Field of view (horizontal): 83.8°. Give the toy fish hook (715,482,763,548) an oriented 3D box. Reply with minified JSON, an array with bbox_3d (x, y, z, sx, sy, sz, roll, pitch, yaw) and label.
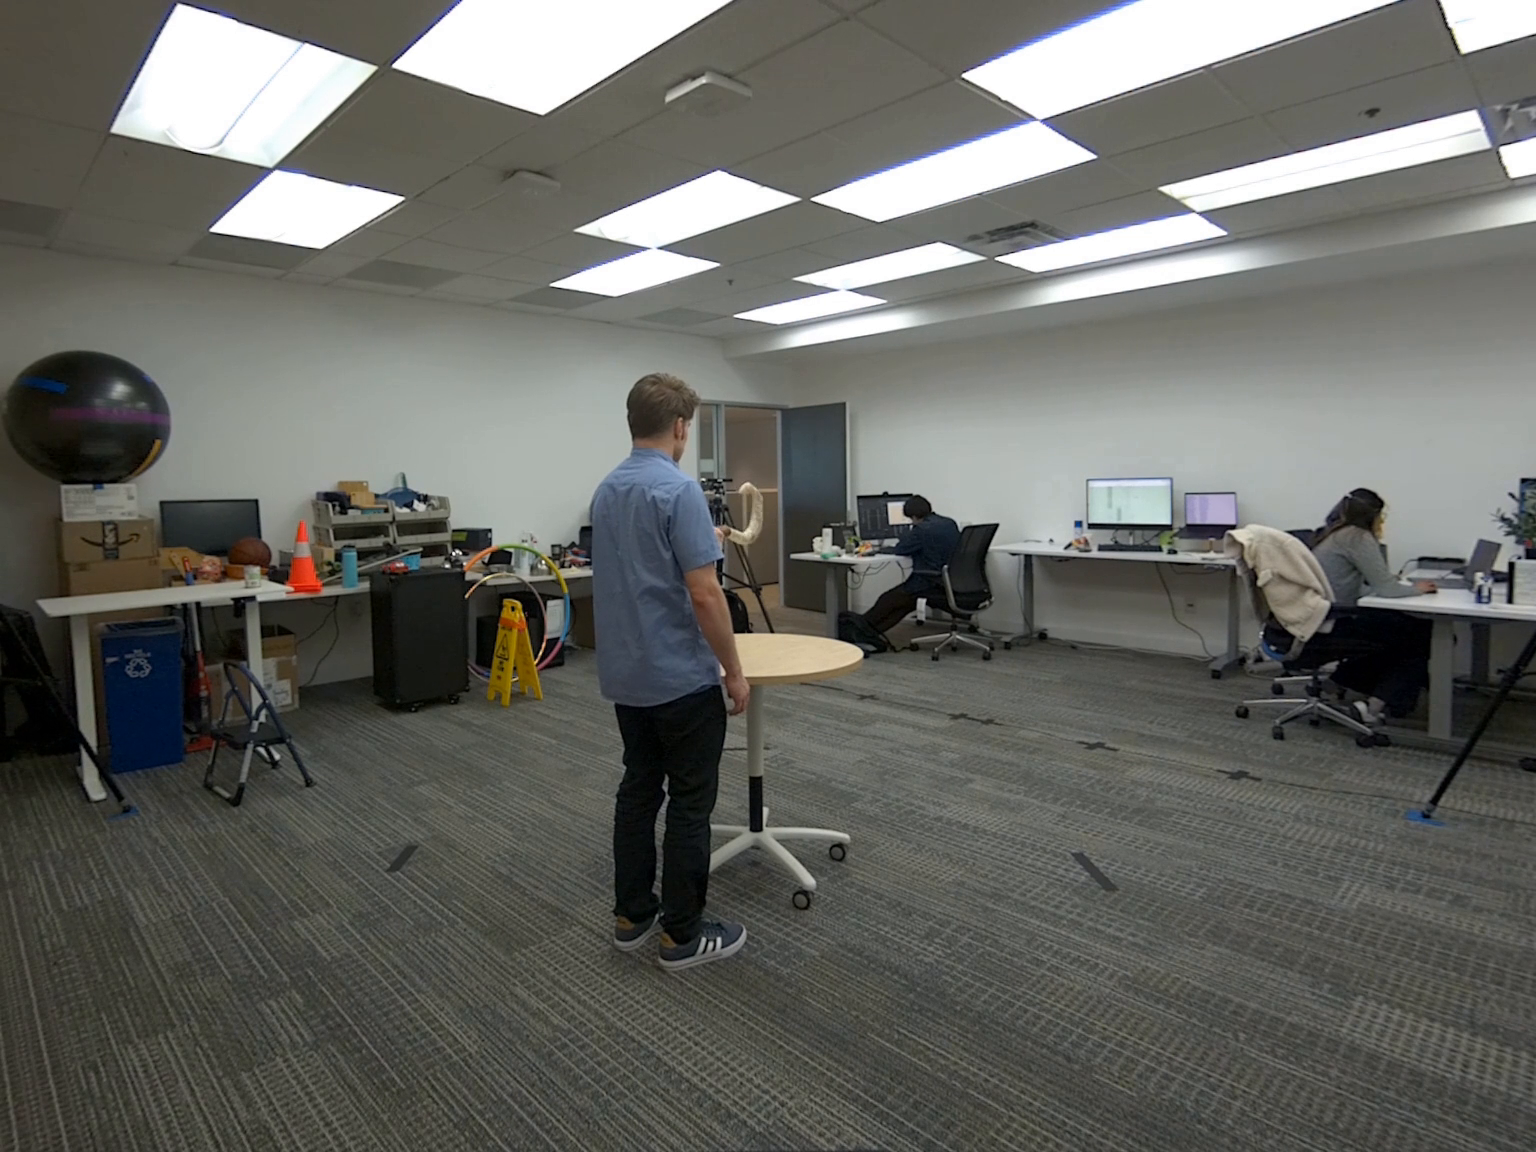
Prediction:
[{"bbox_3d":[-0.120,-0.199,2.987,0.049,0.223,0.499,2,9,22],"label":"toy fish hook"}]
